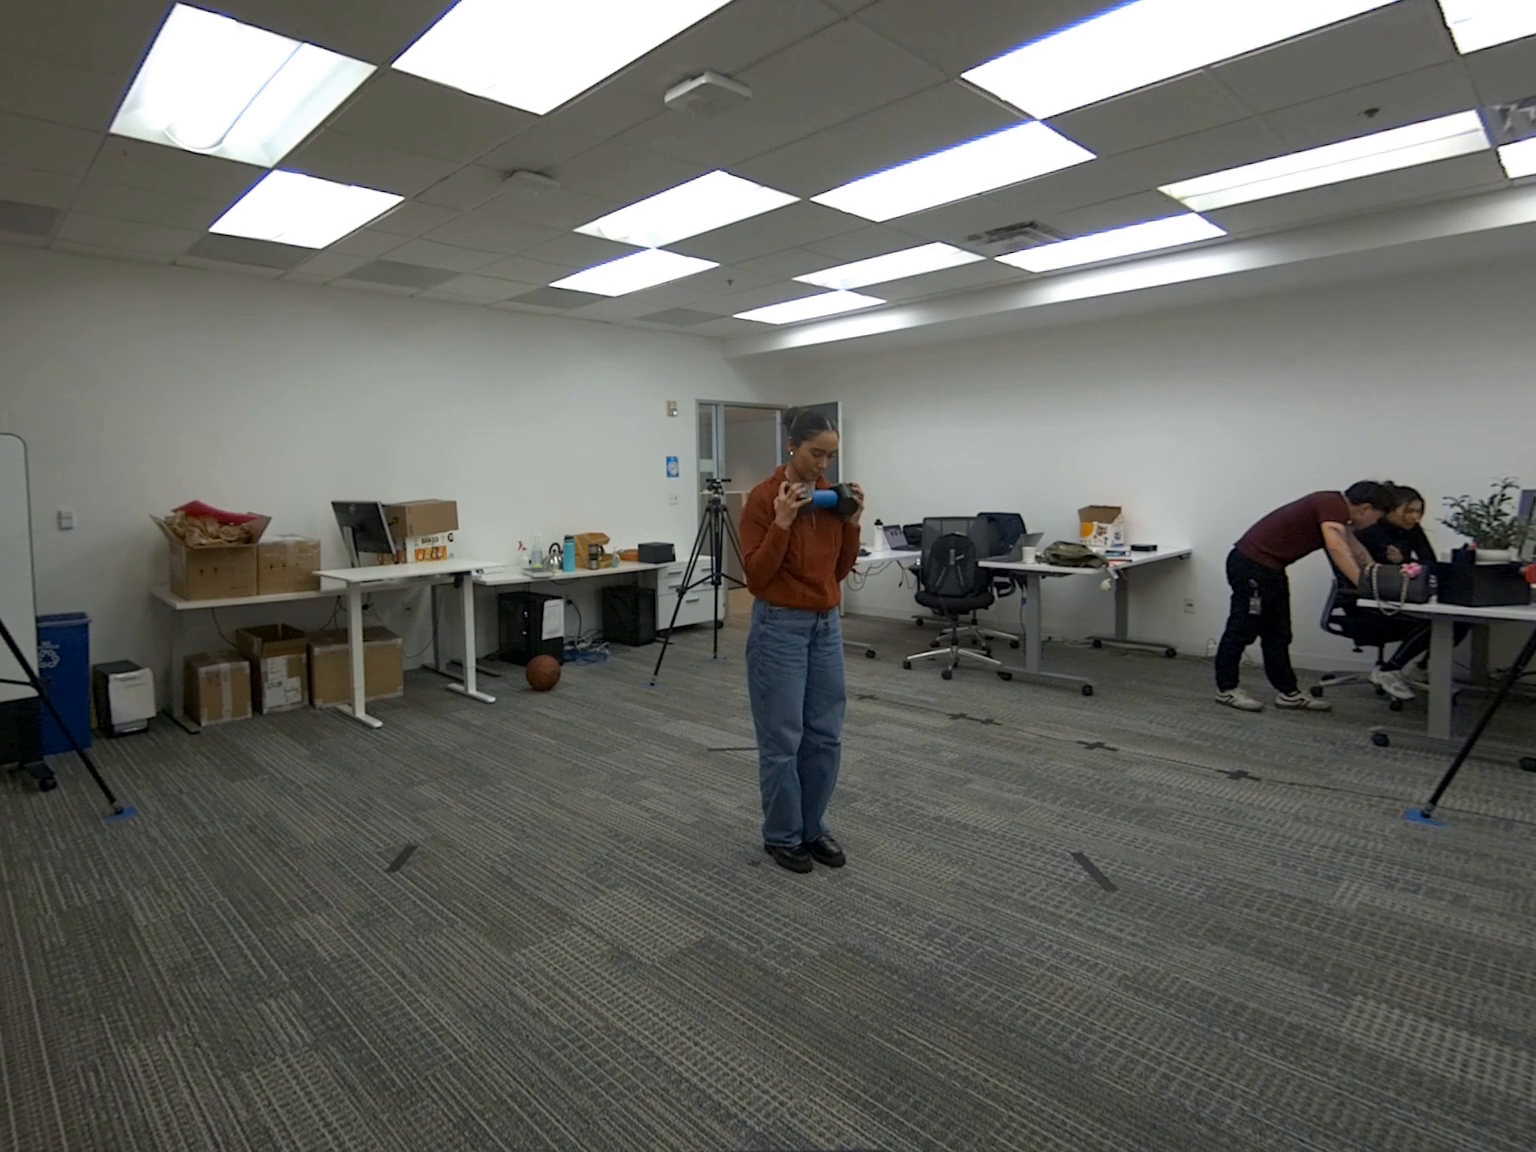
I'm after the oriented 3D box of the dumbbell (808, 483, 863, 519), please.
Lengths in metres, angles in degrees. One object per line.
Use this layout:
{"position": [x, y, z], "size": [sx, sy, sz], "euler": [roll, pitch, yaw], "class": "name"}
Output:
{"position": [0.178, -0.259, 2.988], "size": [0.286, 0.121, 0.113], "euler": [-1, 36, -35], "class": "dumbbell"}
